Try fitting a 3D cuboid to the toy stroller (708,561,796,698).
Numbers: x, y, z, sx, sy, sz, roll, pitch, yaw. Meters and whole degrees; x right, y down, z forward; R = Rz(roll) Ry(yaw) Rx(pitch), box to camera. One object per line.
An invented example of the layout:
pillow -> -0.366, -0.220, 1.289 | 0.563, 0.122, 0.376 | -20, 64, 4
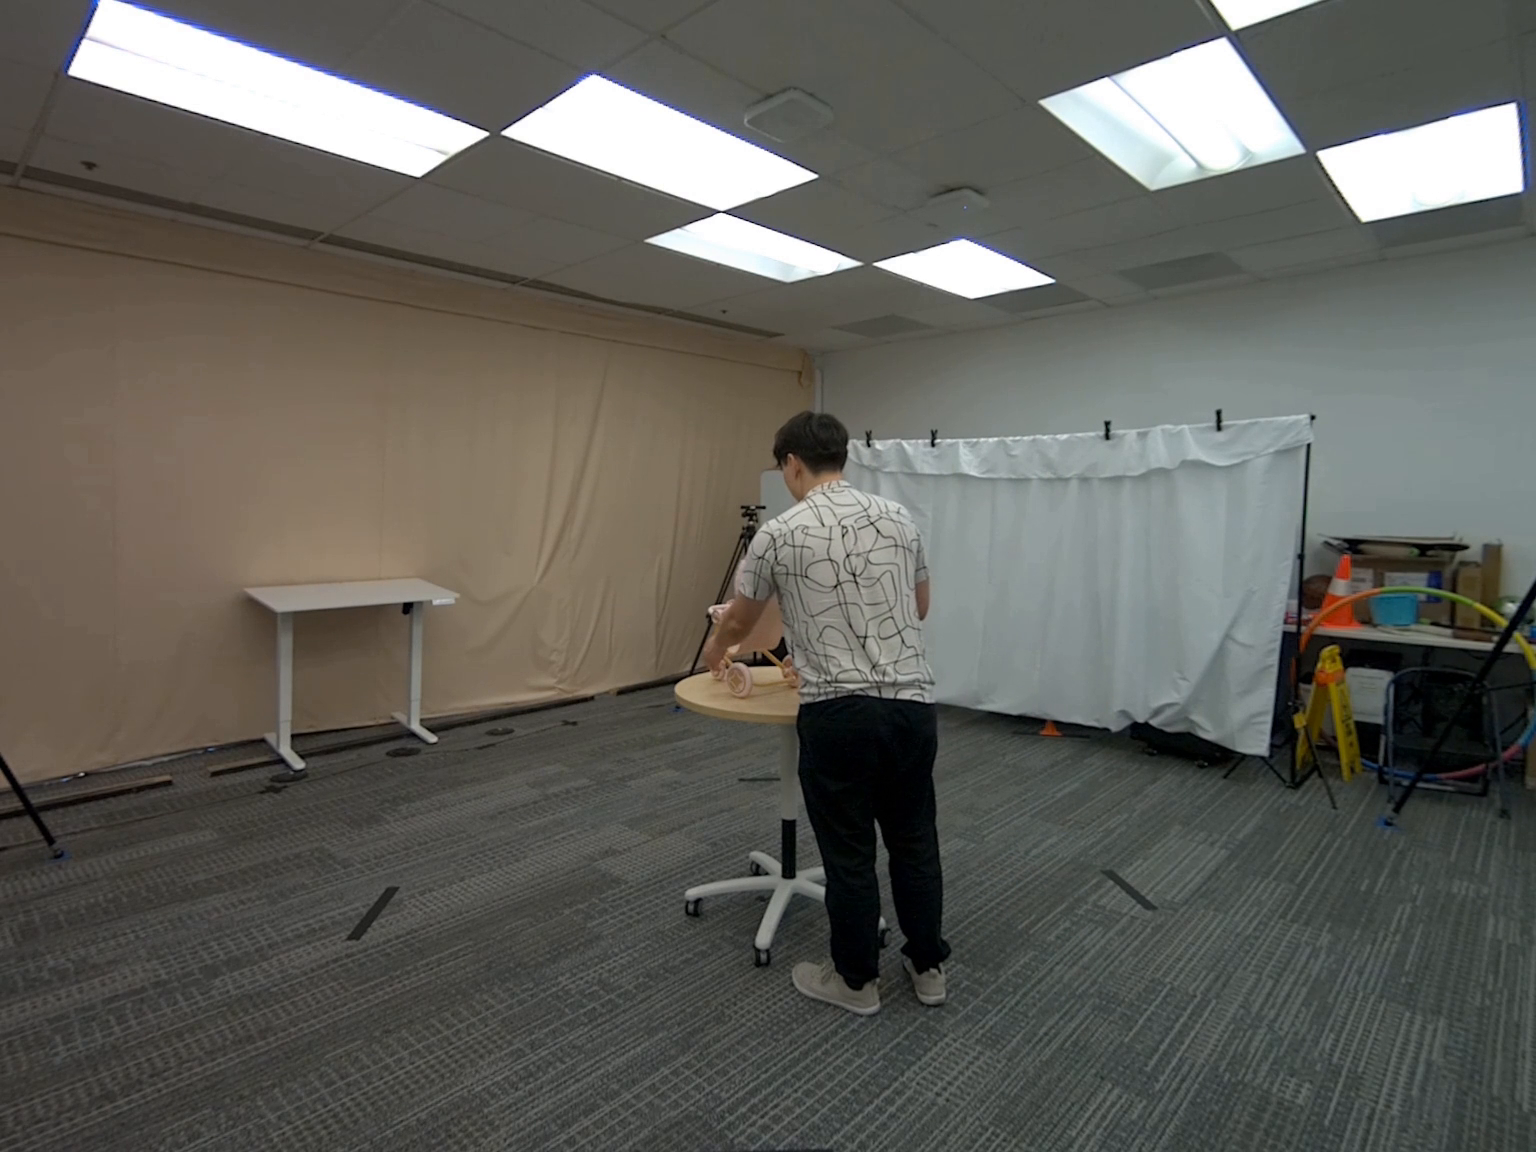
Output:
toy stroller -> -0.038, 0.154, 2.785 | 0.273, 0.531, 0.354 | -2, 20, -39
